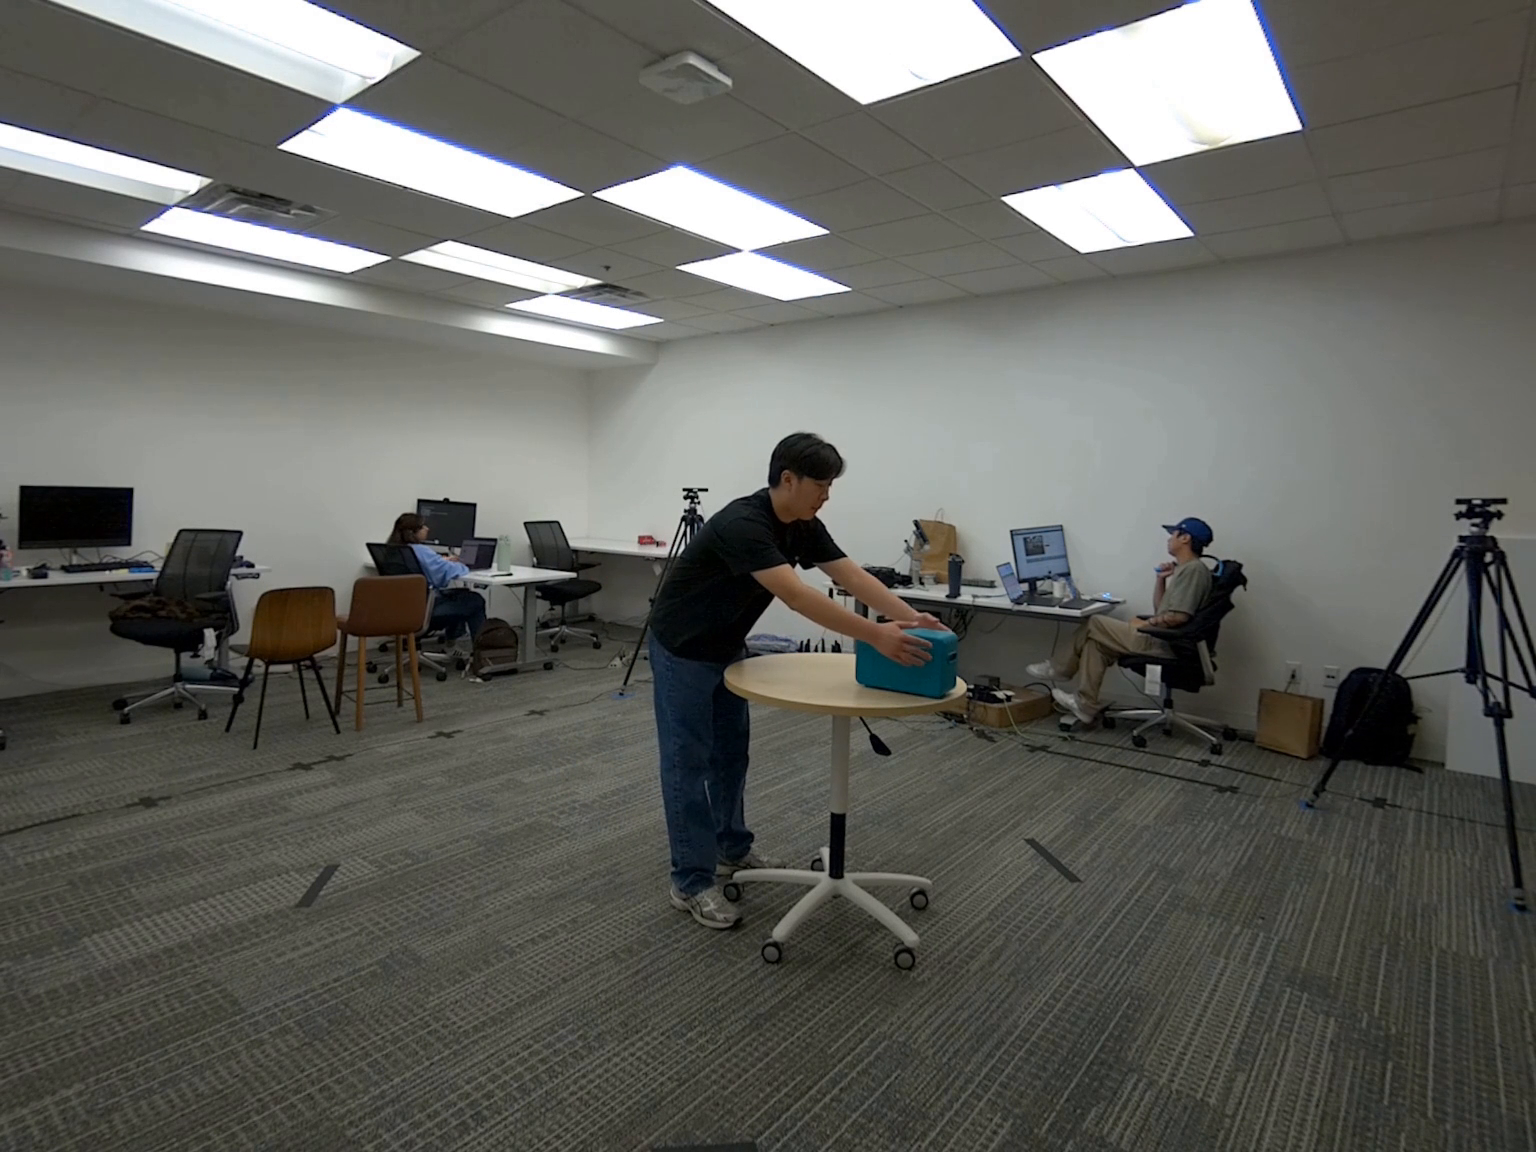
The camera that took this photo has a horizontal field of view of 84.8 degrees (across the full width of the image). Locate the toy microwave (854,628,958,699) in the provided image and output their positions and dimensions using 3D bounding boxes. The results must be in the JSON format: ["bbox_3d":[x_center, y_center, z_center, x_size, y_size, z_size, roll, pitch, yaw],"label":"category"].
[{"bbox_3d":[0.420,0.249,2.579,0.295,0.183,0.148,4,5,34],"label":"toy microwave"}]
